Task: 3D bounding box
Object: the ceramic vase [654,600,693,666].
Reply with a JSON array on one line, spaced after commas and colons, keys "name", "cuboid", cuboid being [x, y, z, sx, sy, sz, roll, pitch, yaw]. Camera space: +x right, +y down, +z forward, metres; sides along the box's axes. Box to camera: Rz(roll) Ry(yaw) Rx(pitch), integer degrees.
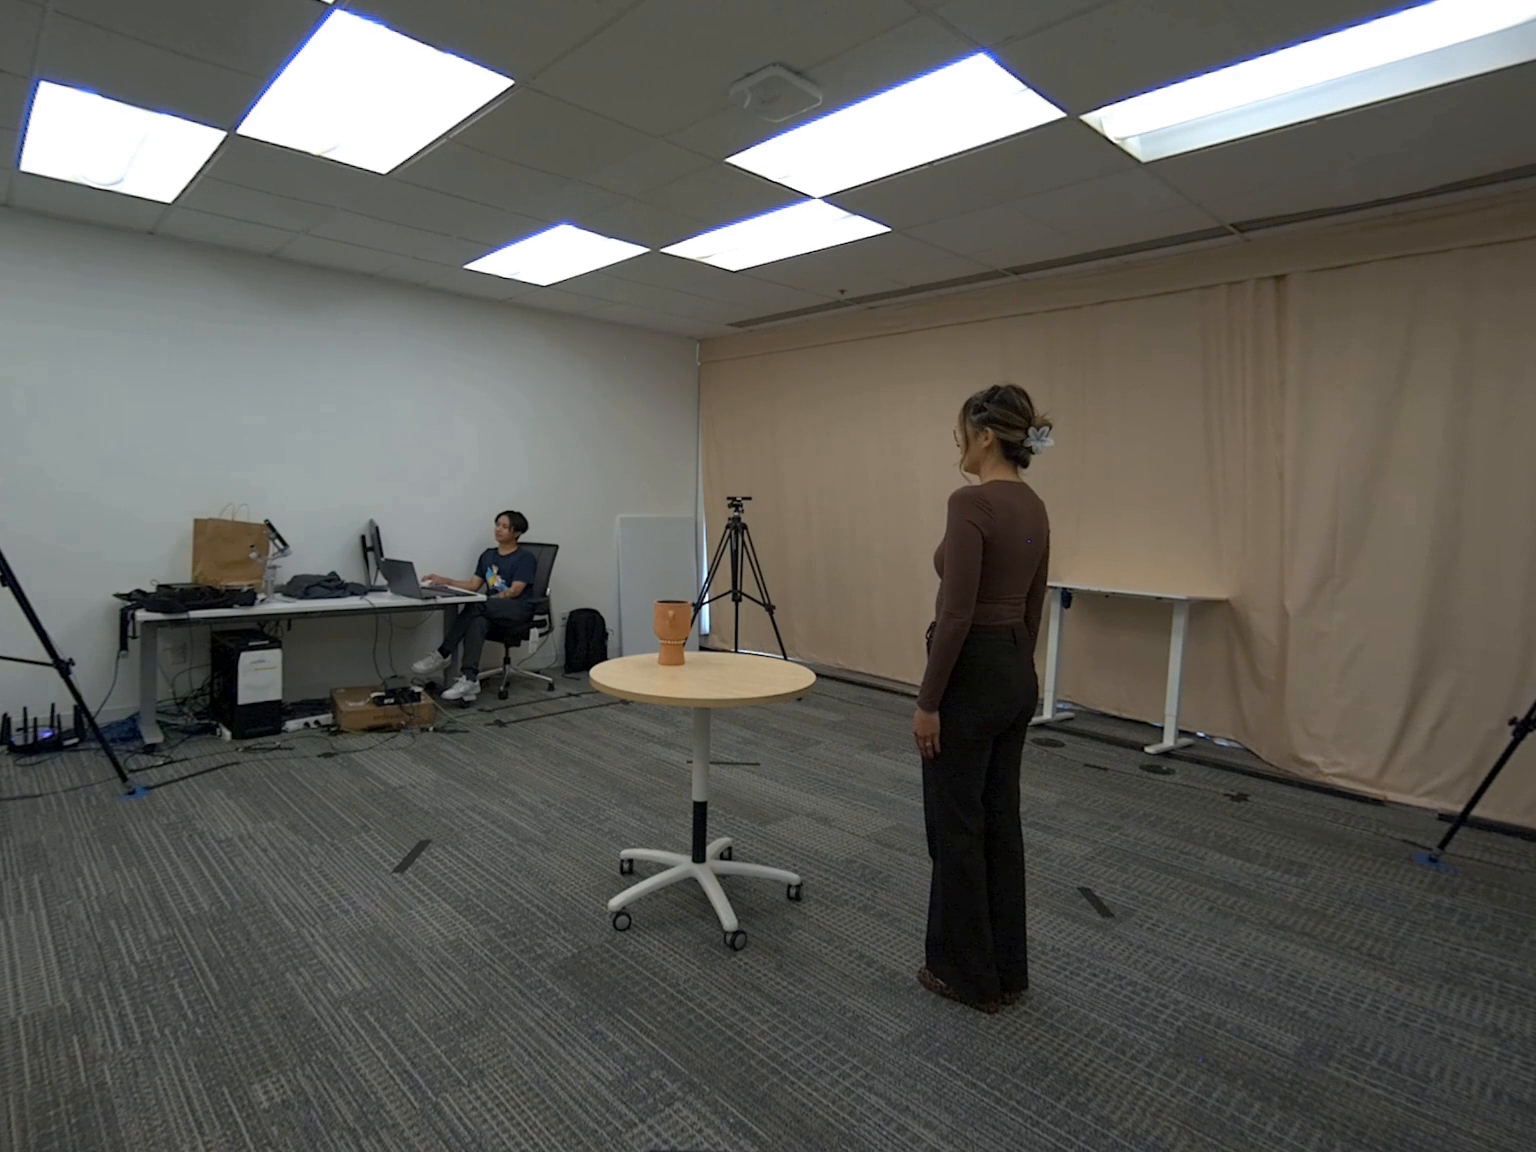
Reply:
[{"name": "ceramic vase", "cuboid": [-0.350, 0.204, 3.002, 0.138, 0.219, 0.155, 4, 4, 37]}]
